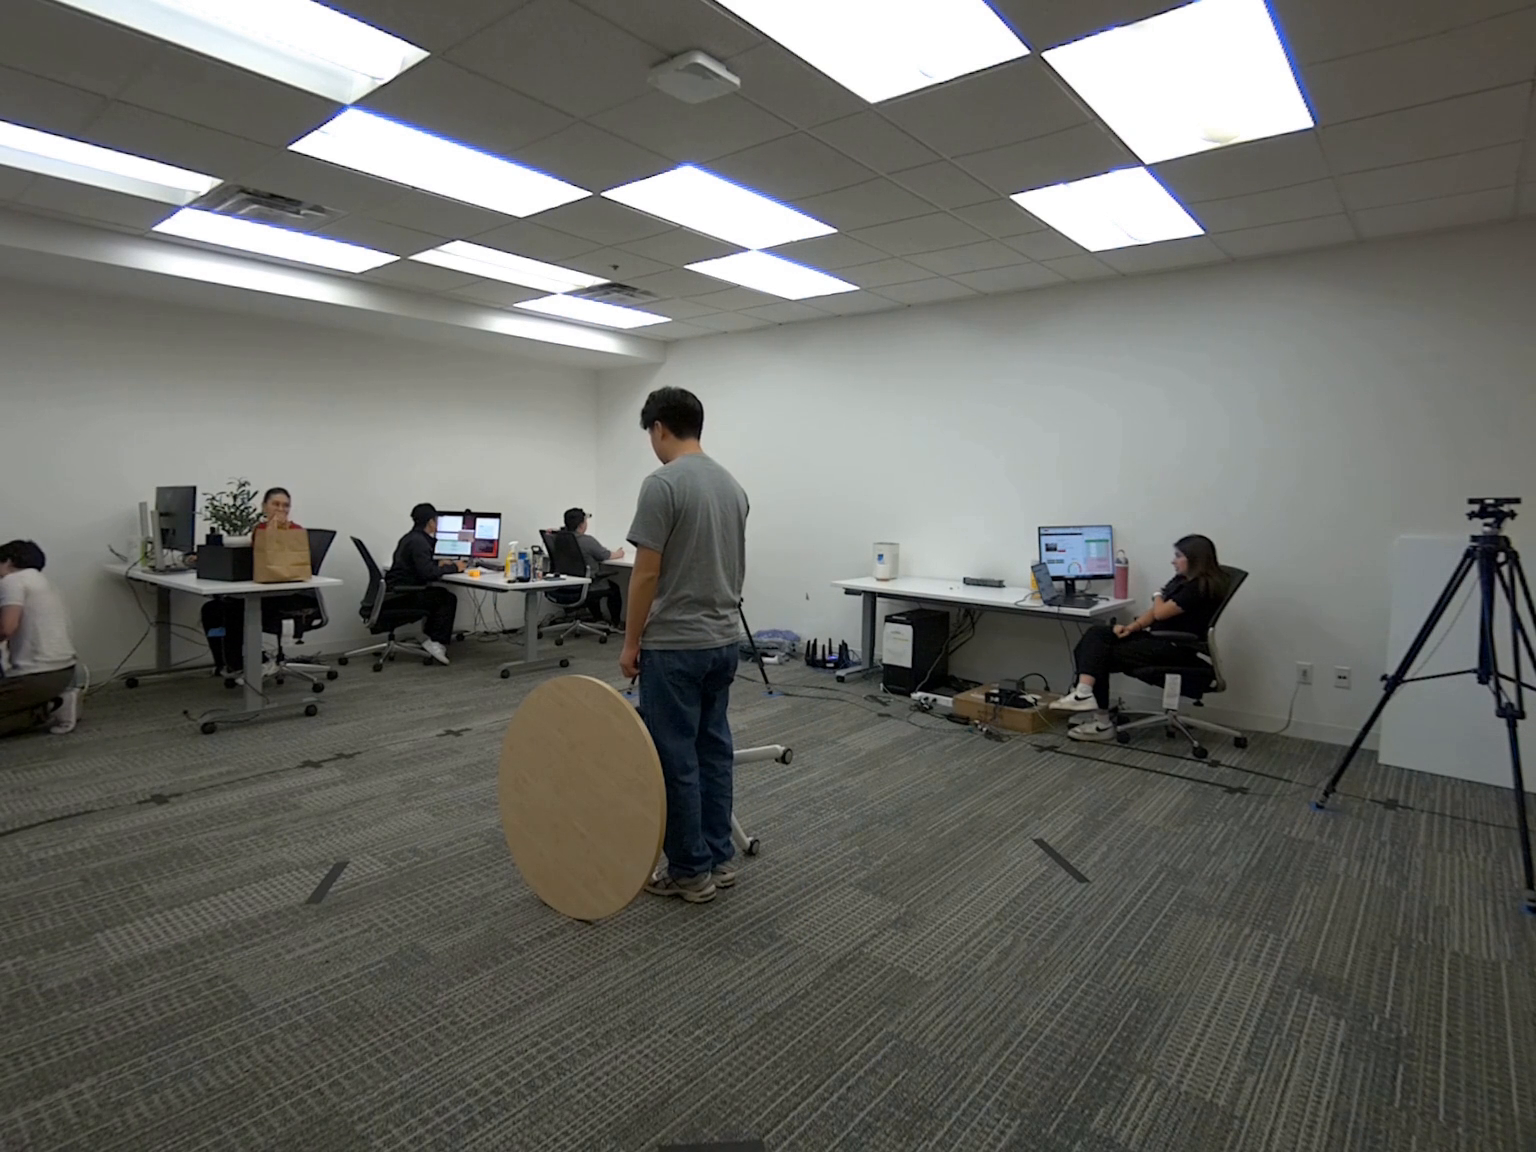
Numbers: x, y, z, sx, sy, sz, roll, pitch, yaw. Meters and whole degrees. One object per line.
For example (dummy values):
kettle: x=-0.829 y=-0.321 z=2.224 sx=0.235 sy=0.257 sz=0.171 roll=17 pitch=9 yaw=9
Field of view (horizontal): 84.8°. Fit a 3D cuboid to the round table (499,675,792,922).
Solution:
round table: x=-0.432 y=0.724 z=3.084 sx=0.789 sy=0.765 sz=0.768 roll=4 pitch=-1 yaw=36
